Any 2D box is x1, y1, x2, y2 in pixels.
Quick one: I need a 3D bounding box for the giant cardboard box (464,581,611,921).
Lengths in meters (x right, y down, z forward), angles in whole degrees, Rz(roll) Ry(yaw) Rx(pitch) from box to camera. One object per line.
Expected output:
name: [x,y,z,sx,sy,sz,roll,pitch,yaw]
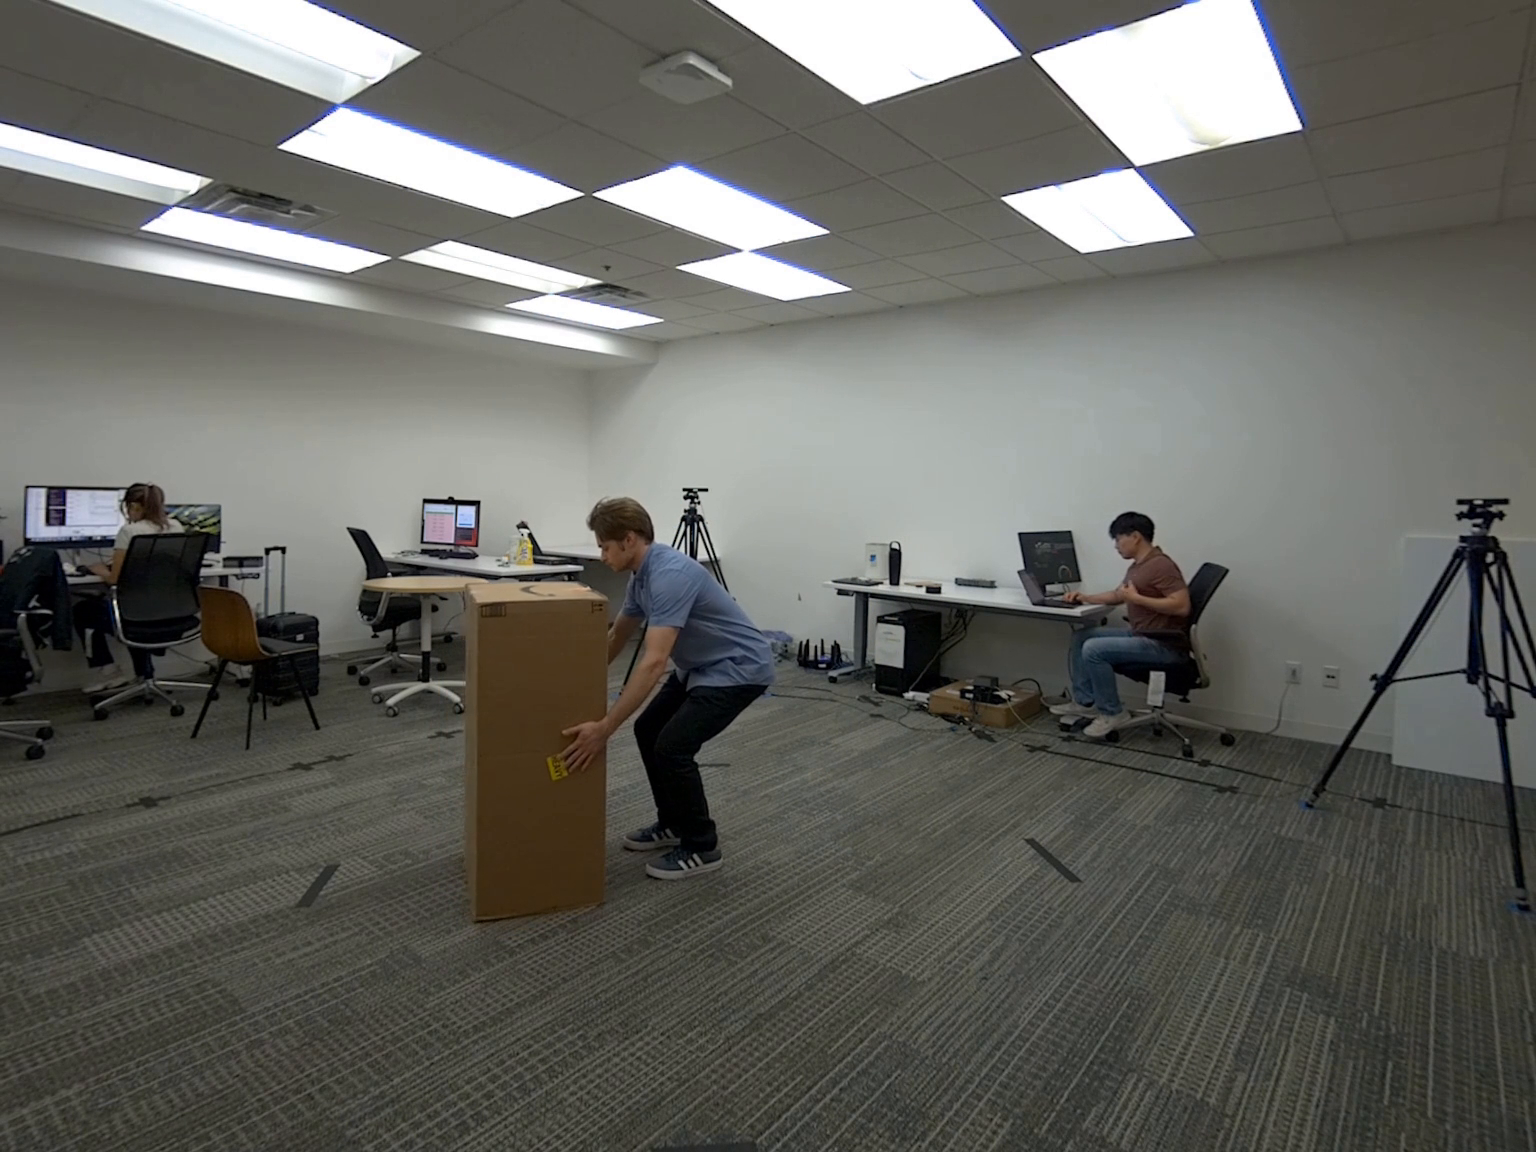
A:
giant cardboard box: [-0.848,0.559,3.010,0.417,1.023,0.591,0,3,-22]
